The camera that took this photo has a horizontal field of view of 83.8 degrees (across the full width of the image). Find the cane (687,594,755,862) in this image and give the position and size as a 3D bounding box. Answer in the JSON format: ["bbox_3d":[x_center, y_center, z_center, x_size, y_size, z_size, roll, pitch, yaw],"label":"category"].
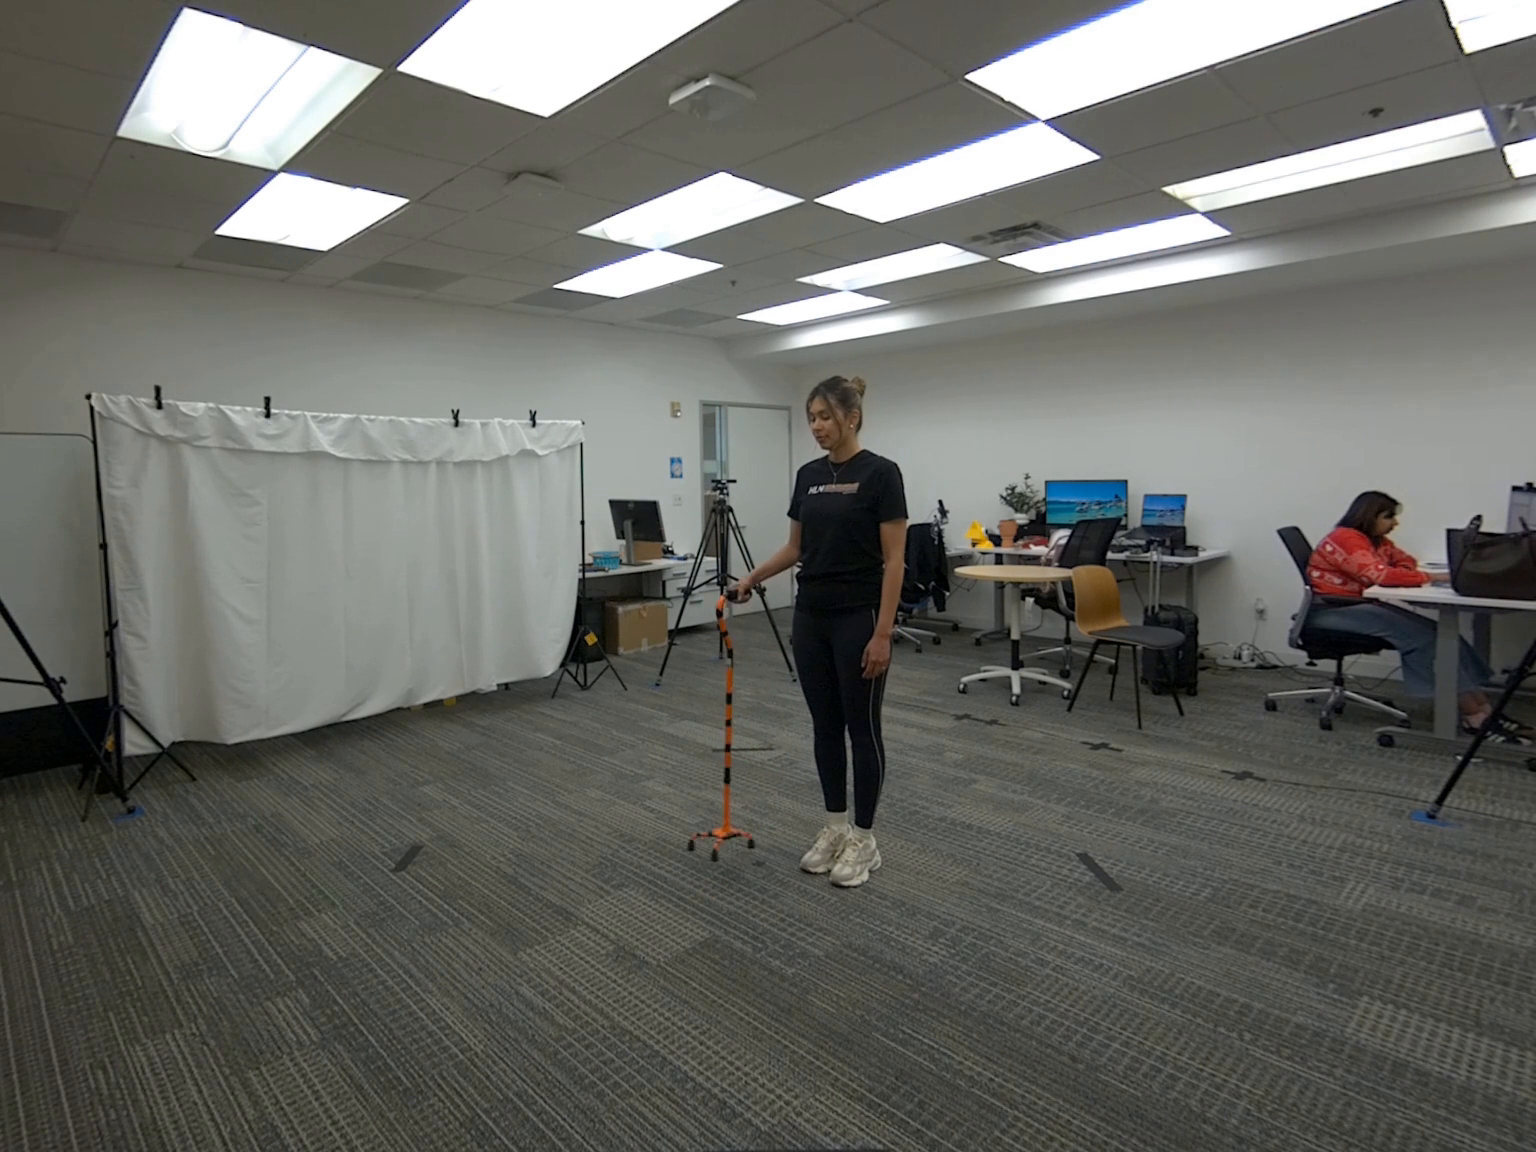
[{"bbox_3d":[-0.152,0.498,3.004,0.156,0.907,0.200,1,1,45],"label":"cane"}]
